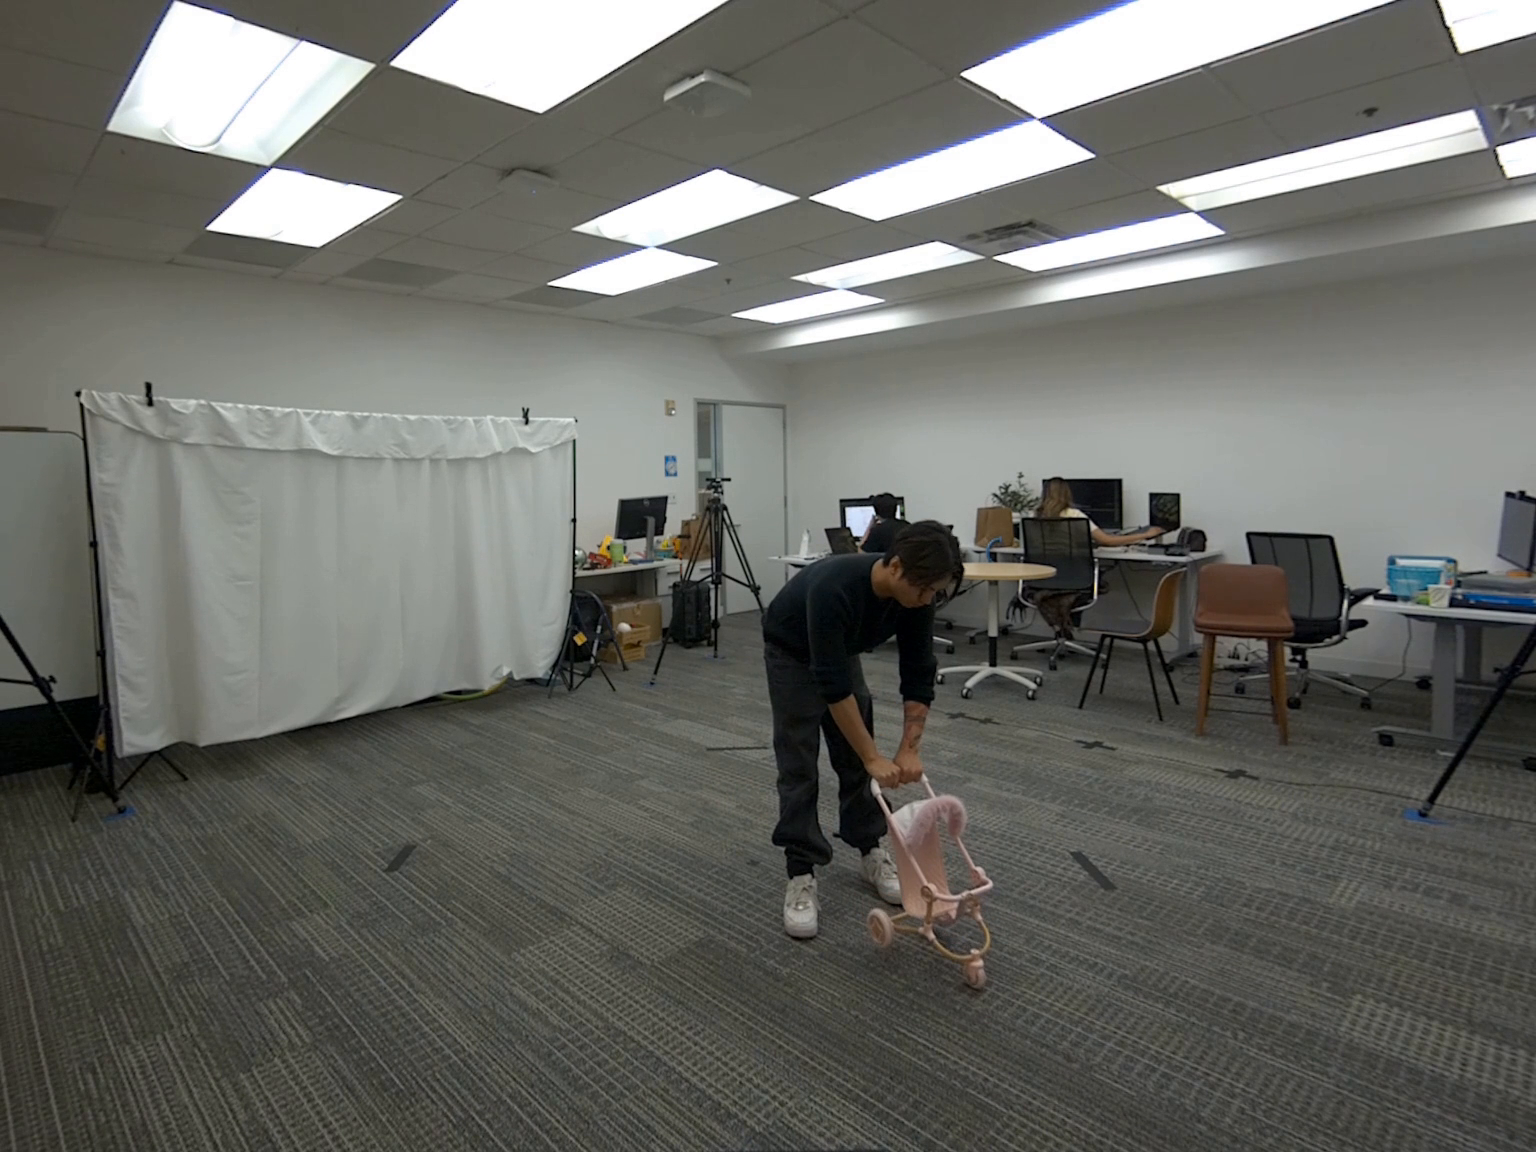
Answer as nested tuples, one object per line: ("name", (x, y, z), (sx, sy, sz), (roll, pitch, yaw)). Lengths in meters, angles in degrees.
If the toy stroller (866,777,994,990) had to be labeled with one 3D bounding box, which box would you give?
("toy stroller", (0.483, 0.859, 2.444), (0.275, 0.536, 0.348), (-2, -2, -28))
